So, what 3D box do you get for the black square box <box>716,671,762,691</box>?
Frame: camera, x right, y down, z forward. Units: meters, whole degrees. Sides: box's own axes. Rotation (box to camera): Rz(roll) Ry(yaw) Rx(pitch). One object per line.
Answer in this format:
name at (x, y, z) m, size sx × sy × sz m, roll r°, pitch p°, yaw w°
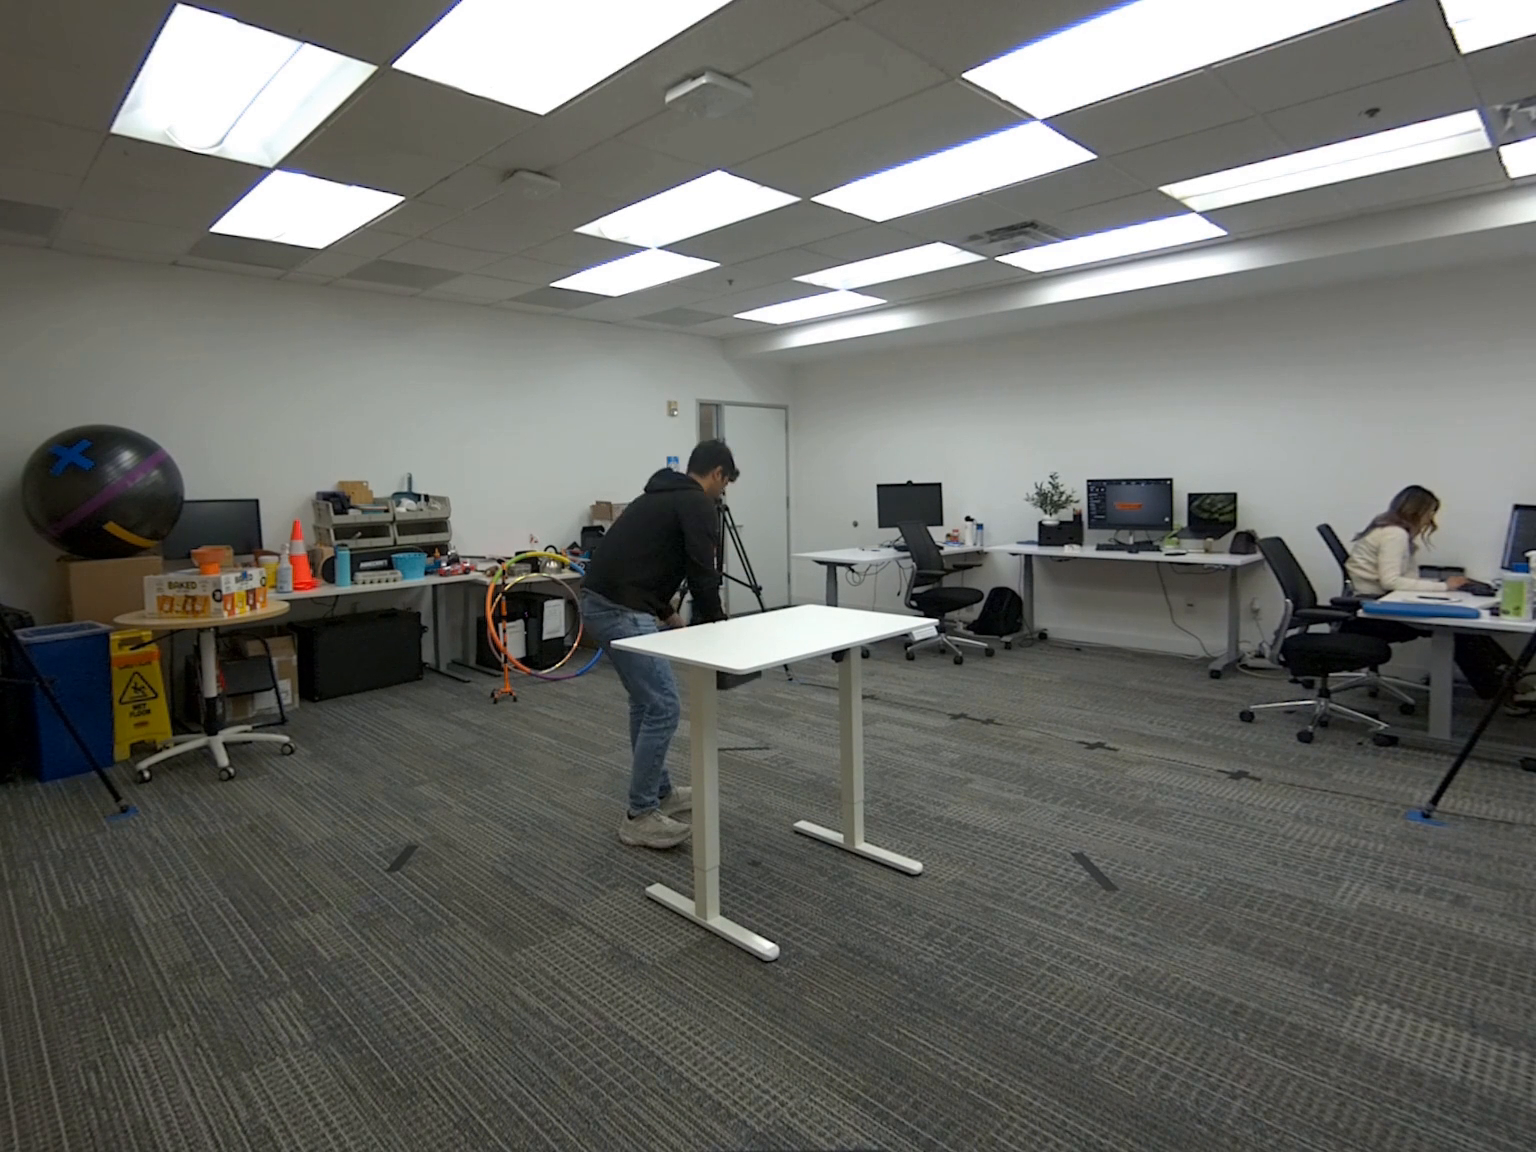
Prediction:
black square box at (-0.186, 0.392, 3.738) m, size 0.212 × 0.155 × 0.234 m, roll -14°, pitch 7°, yaw -42°
